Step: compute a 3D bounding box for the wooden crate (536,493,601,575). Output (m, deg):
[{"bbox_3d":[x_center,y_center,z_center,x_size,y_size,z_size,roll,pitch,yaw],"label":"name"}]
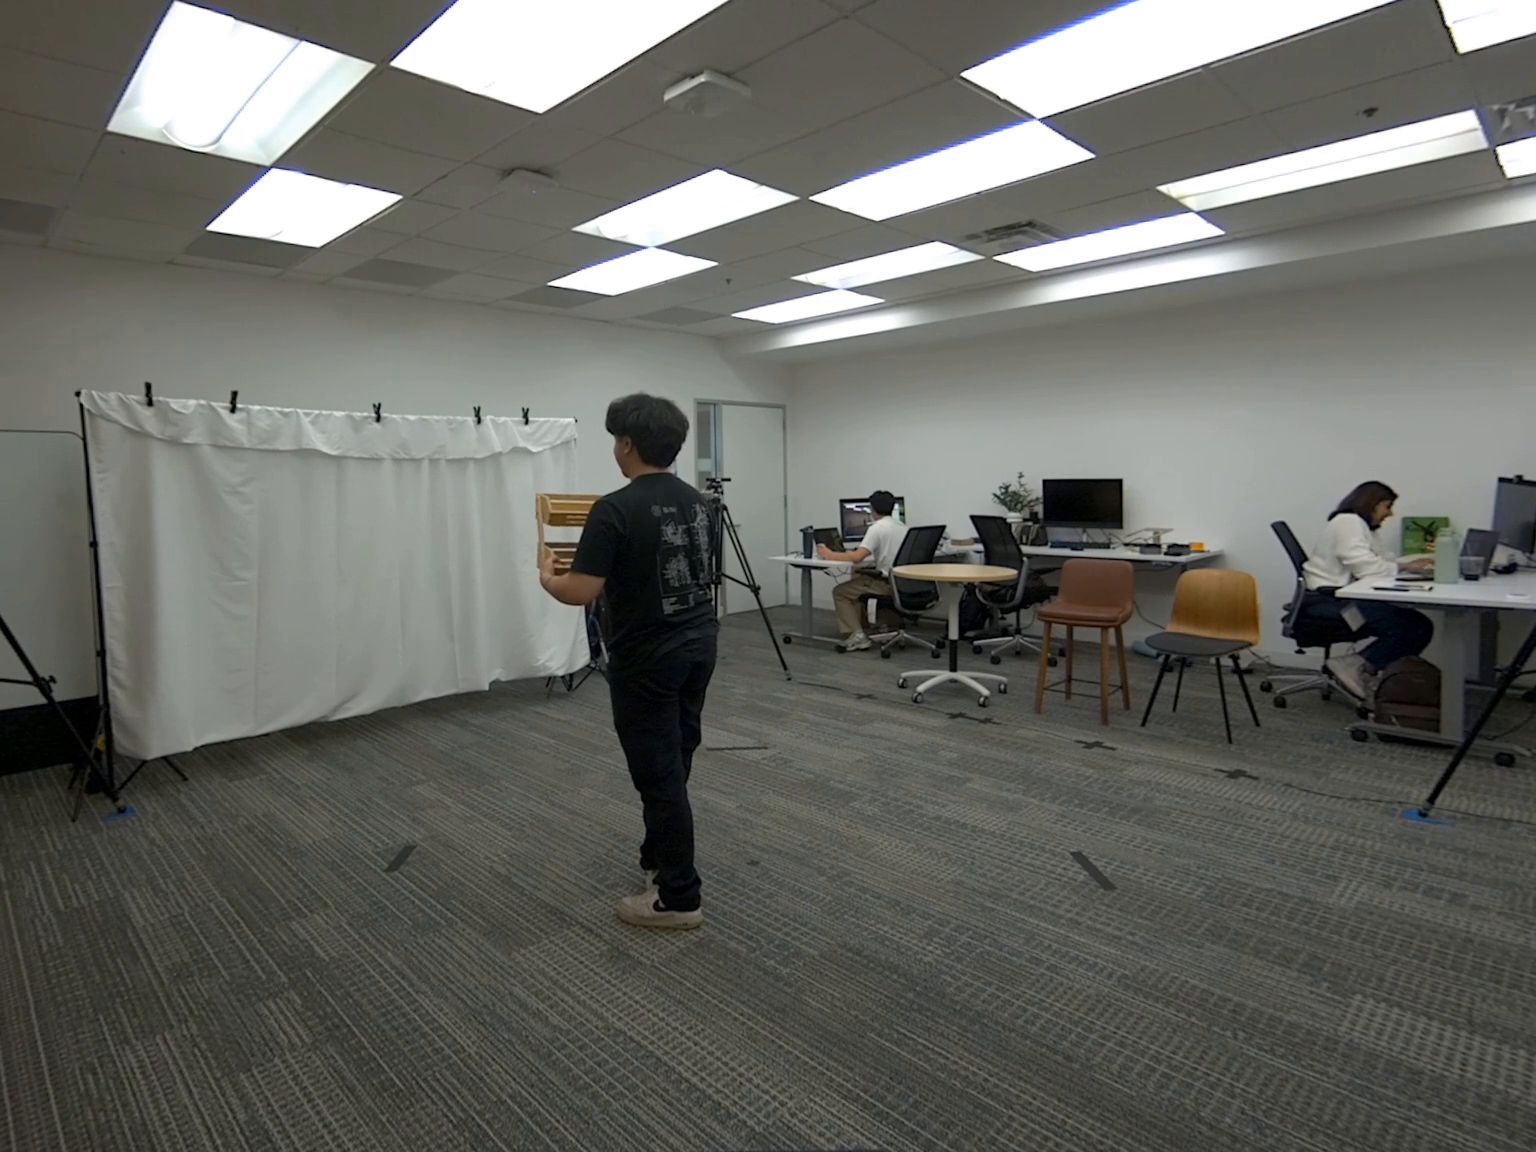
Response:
[{"bbox_3d":[-0.625,-0.143,2.966,0.317,0.271,0.311,0,9,-25],"label":"wooden crate"}]
